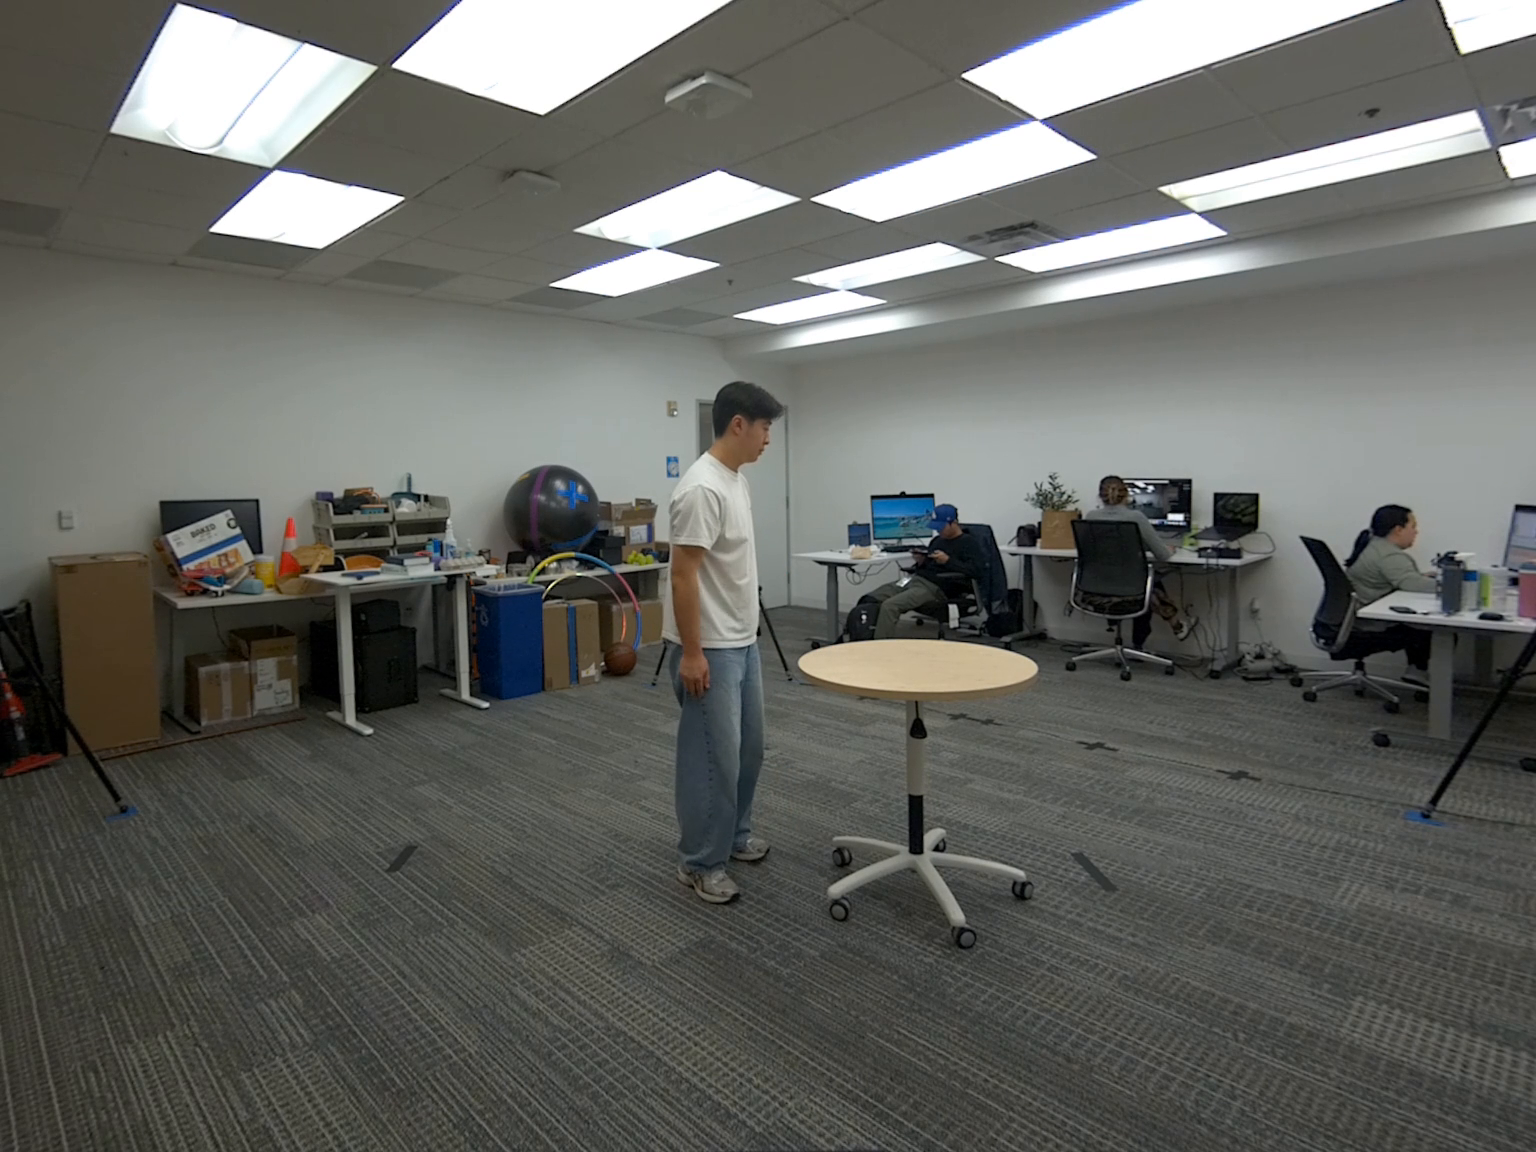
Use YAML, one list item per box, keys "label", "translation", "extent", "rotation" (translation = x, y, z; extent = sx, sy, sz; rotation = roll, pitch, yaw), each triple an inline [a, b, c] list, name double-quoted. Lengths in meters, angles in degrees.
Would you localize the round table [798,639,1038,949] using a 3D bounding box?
- label: "round table"
  translation: [0.489, 0.675, 2.842]
  extent: [0.763, 0.790, 0.768]
  rotation: [-1, 5, -2]
